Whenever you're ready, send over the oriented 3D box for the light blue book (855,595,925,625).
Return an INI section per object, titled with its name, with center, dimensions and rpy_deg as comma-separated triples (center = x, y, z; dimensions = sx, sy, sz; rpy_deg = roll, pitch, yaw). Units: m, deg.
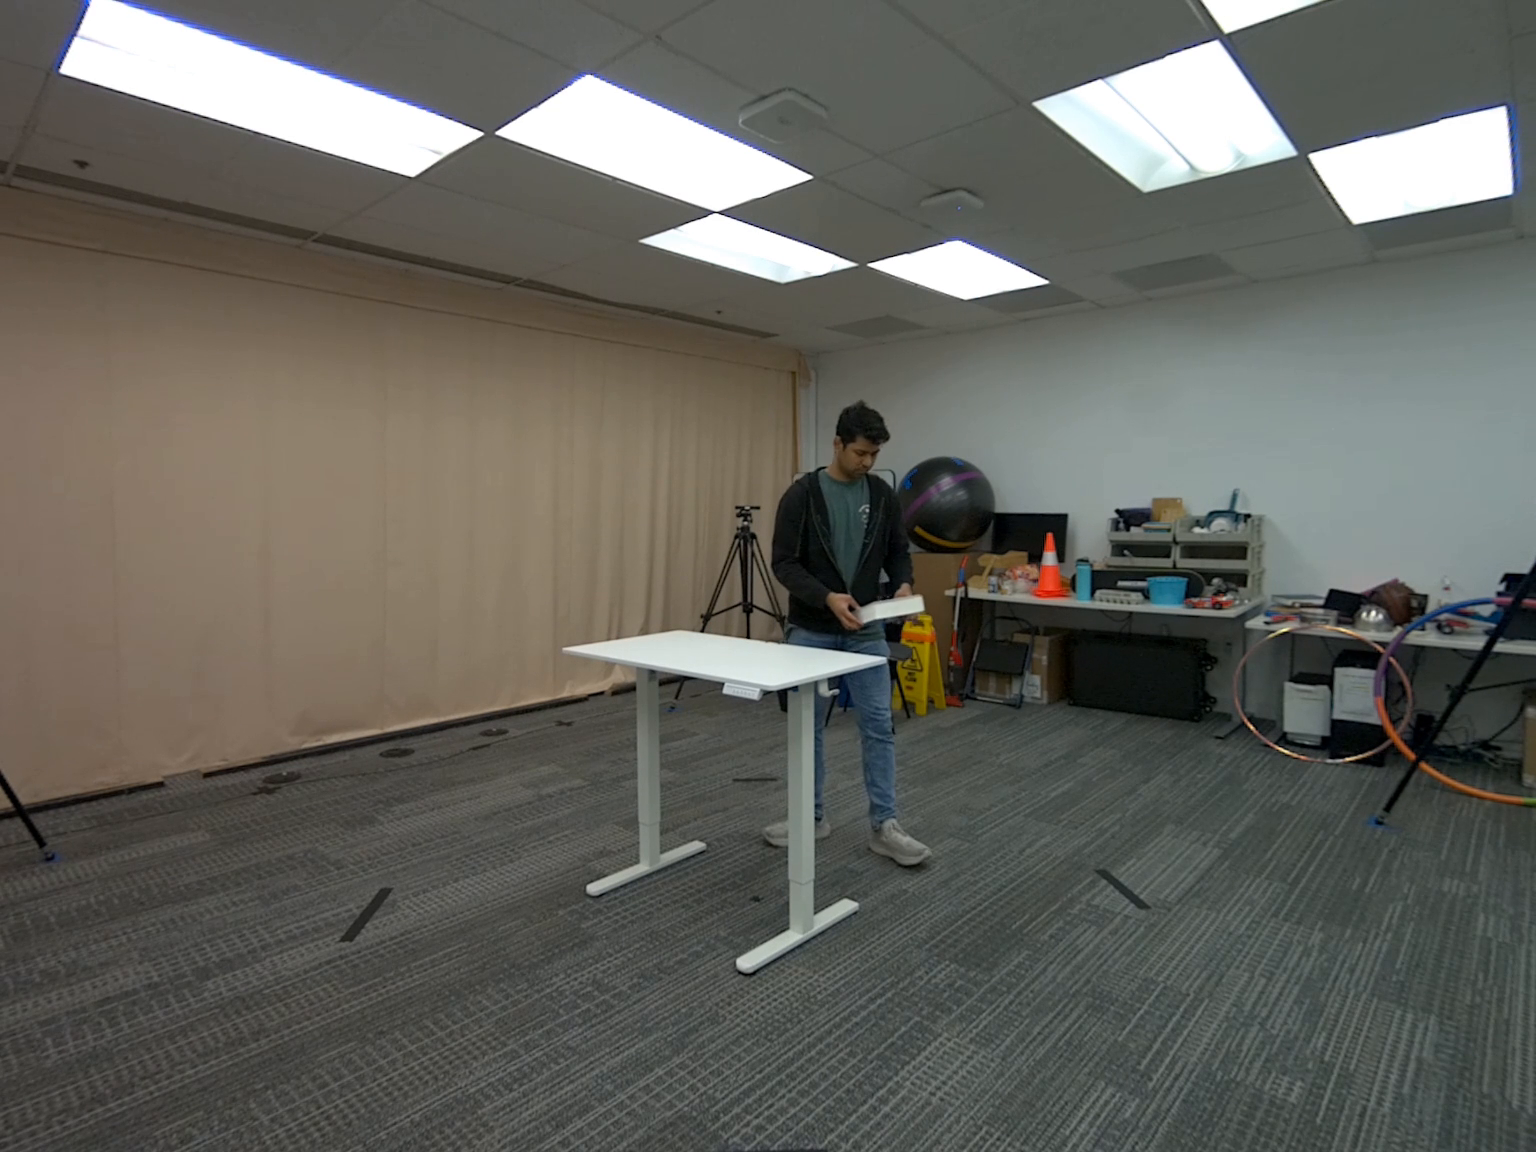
[light blue book]
center = 0.421, 0.139, 3.055
dimensions = 0.189, 0.059, 0.261
rpy_deg = -8, -8, -10
